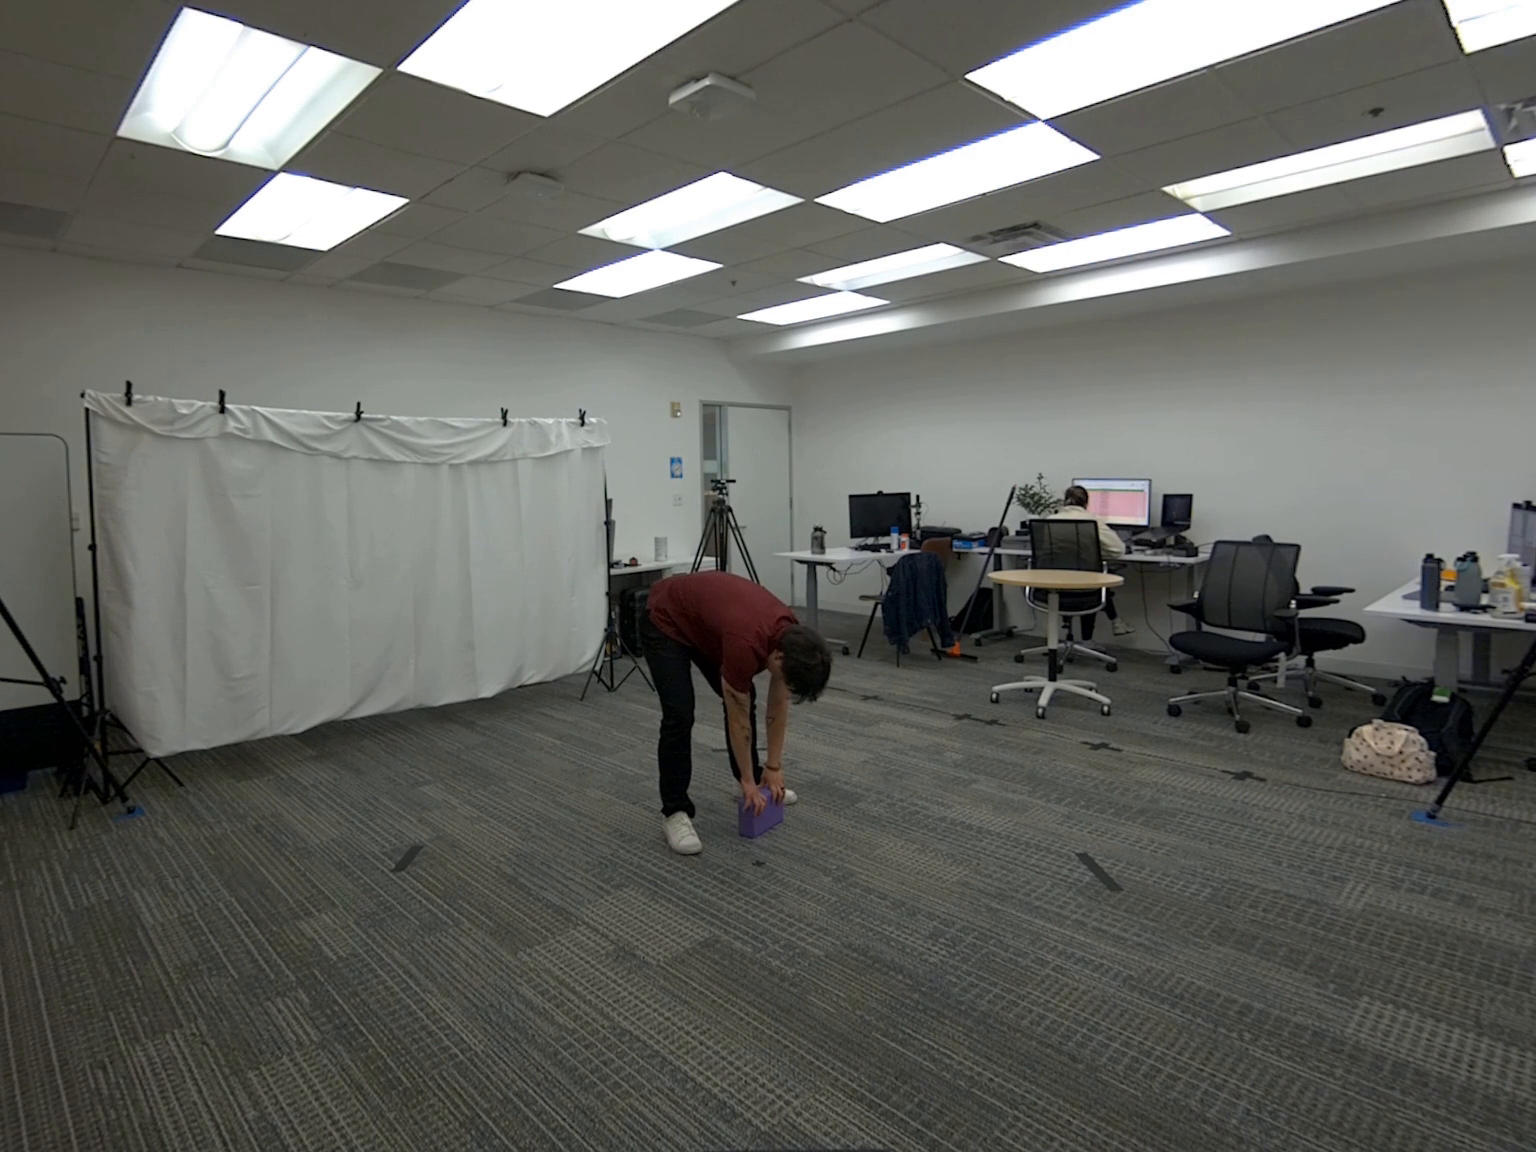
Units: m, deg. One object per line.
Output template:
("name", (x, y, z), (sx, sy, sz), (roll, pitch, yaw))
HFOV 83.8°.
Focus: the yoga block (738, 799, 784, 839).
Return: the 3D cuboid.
("yoga block", (-0.034, 0.940, 3.434), (0.078, 0.149, 0.224), (-2, 4, 34))
